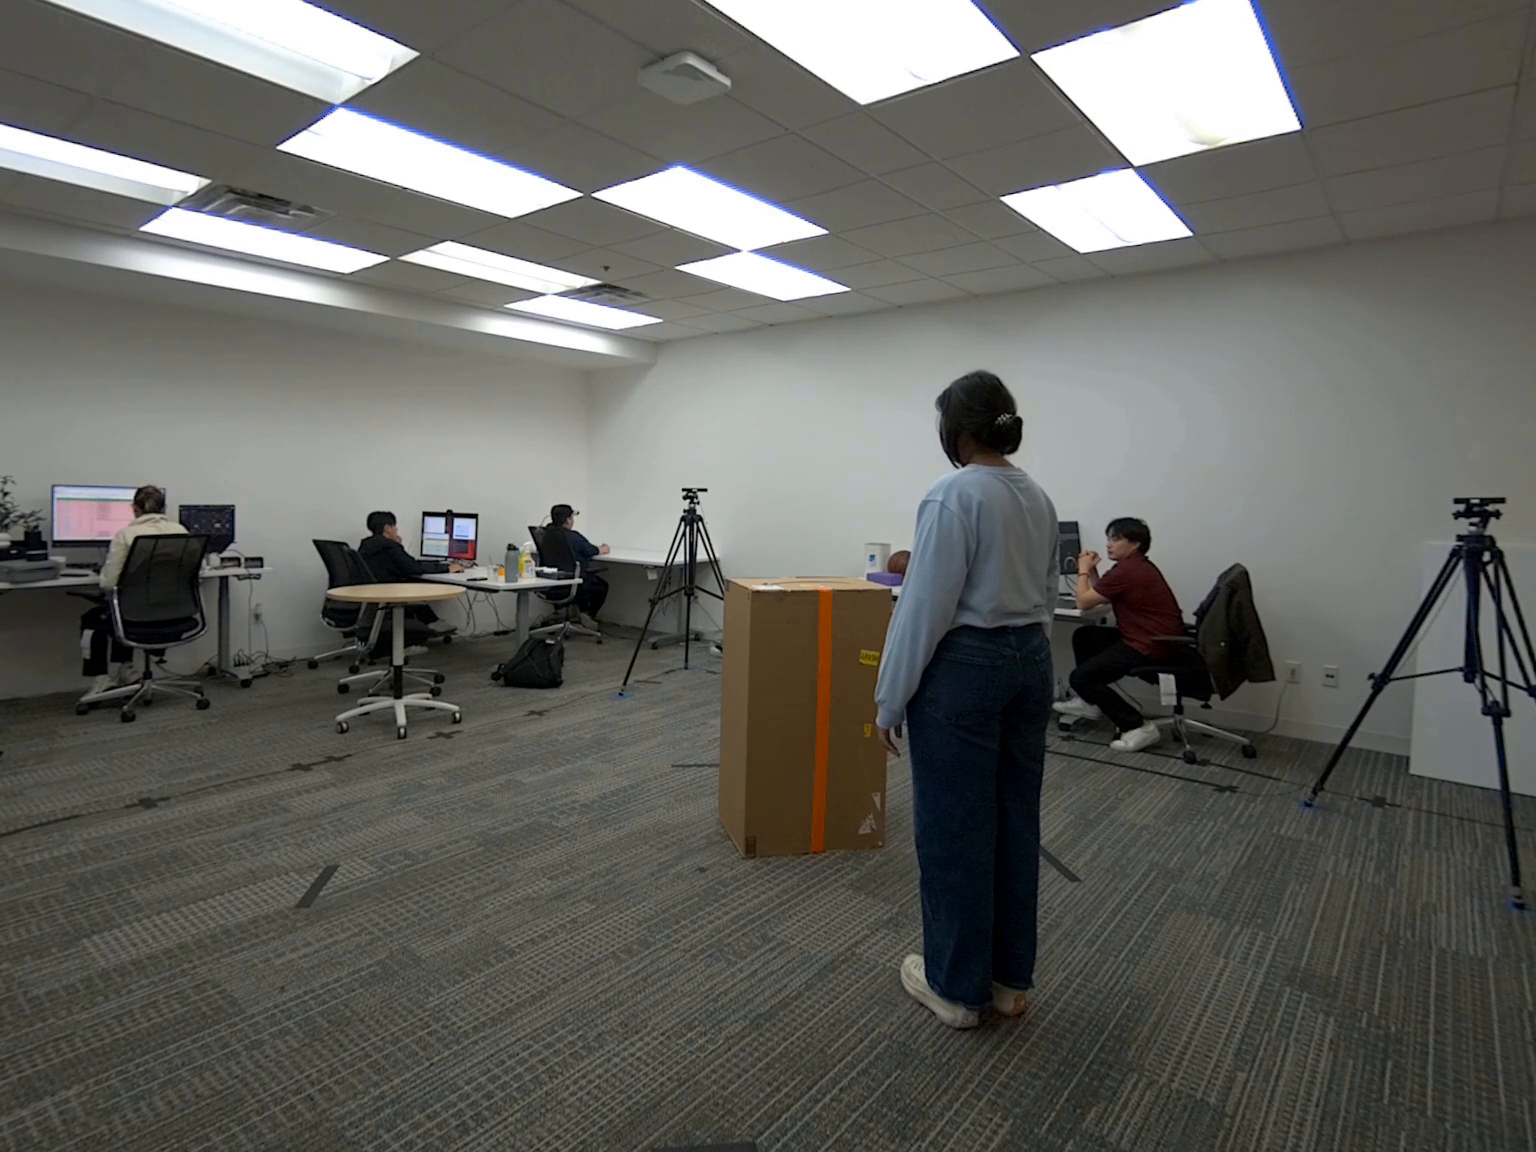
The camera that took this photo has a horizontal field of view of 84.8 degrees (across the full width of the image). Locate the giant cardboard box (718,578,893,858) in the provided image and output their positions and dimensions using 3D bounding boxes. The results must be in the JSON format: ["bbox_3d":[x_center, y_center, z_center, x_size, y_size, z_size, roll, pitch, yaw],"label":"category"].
[{"bbox_3d":[0.128,0.533,3.450,0.575,1.023,0.455,1,4,-15],"label":"giant cardboard box"}]
